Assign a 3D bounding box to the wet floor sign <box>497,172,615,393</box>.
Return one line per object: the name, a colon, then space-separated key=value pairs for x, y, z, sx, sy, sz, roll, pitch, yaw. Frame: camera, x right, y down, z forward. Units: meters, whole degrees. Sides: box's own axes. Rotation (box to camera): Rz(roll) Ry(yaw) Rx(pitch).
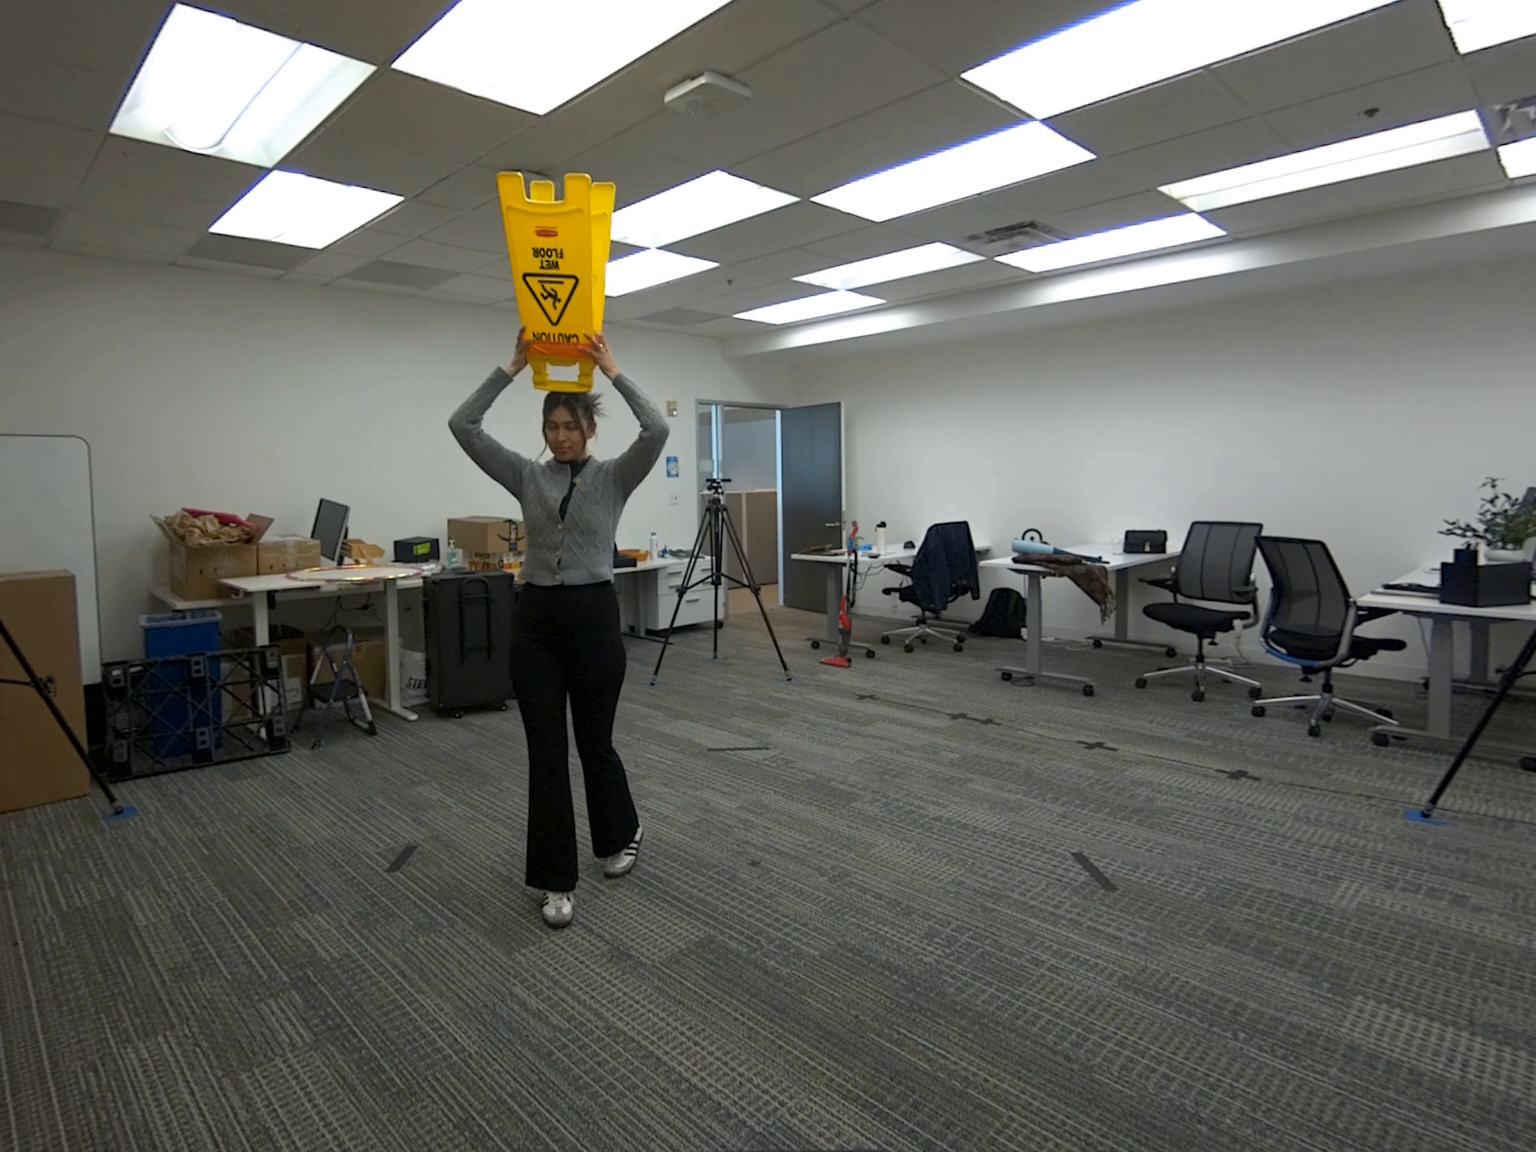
wet floor sign: x=-0.645 y=-0.903 z=2.687 sx=0.284 sy=0.636 sz=0.292 roll=4 pitch=19 yaw=6
